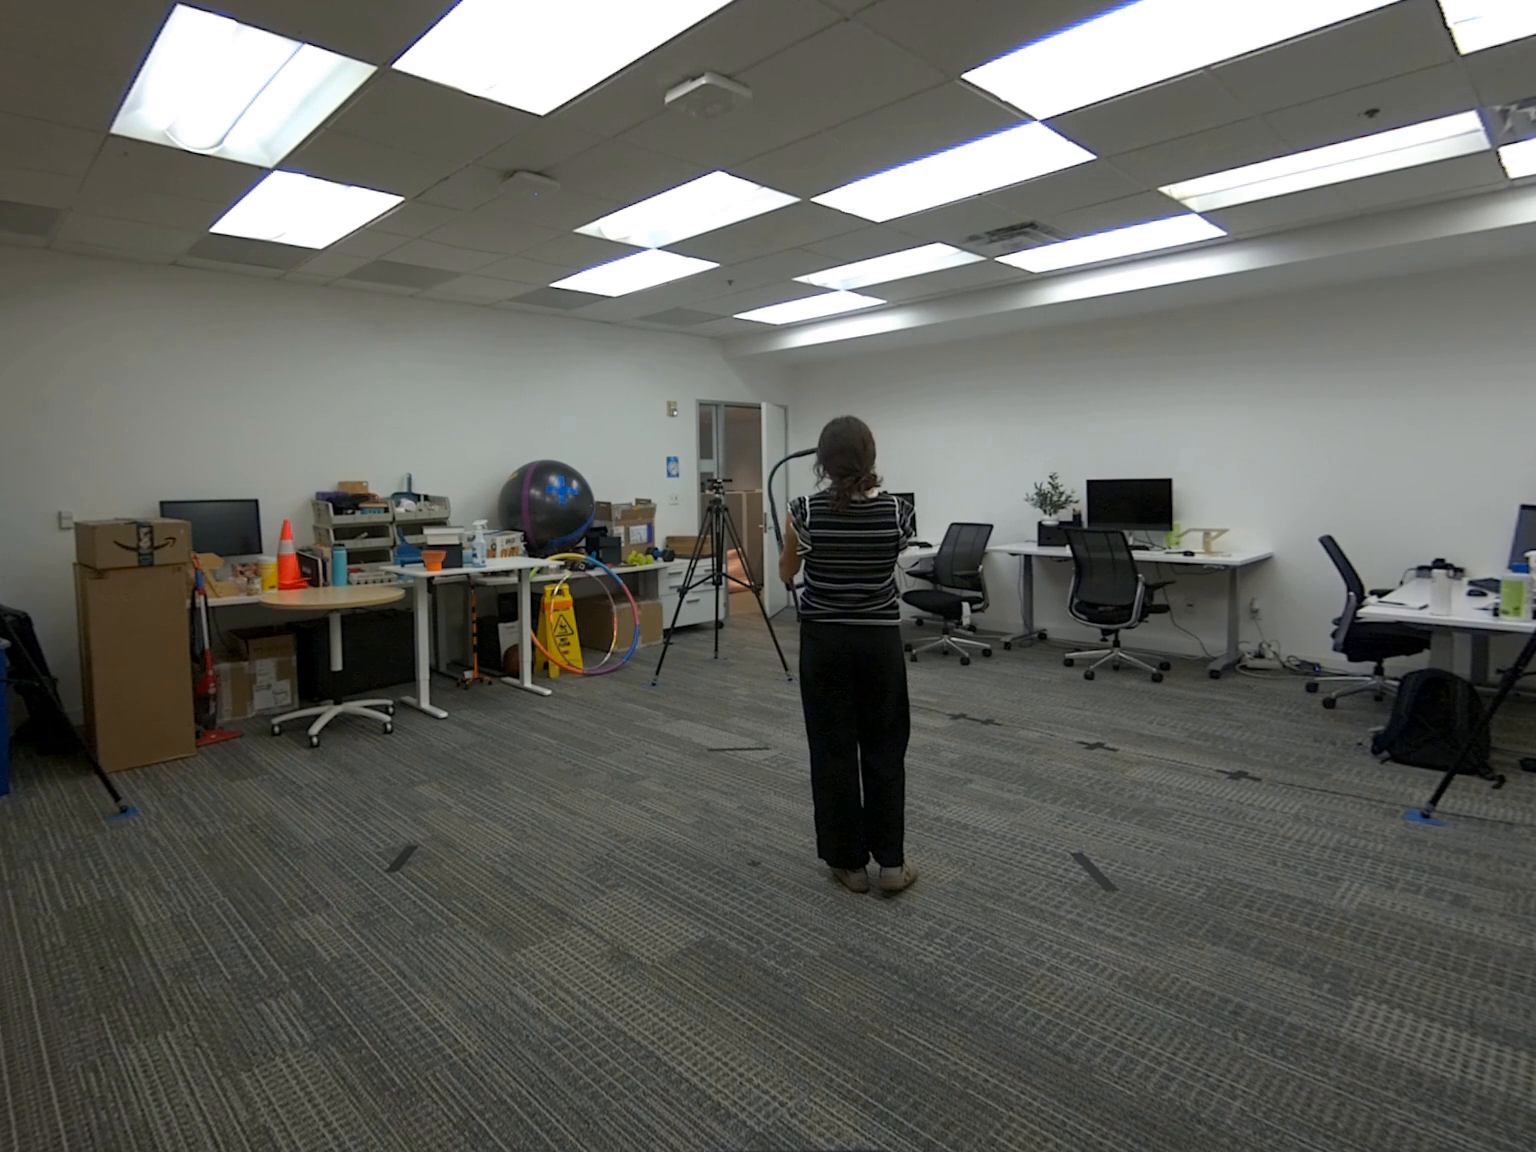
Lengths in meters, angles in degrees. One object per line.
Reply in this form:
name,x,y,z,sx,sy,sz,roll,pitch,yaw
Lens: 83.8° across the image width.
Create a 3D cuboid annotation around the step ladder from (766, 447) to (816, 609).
step ladder,0.235,-0.193,3.425,0.430,0.595,0.356,-15,17,-2
